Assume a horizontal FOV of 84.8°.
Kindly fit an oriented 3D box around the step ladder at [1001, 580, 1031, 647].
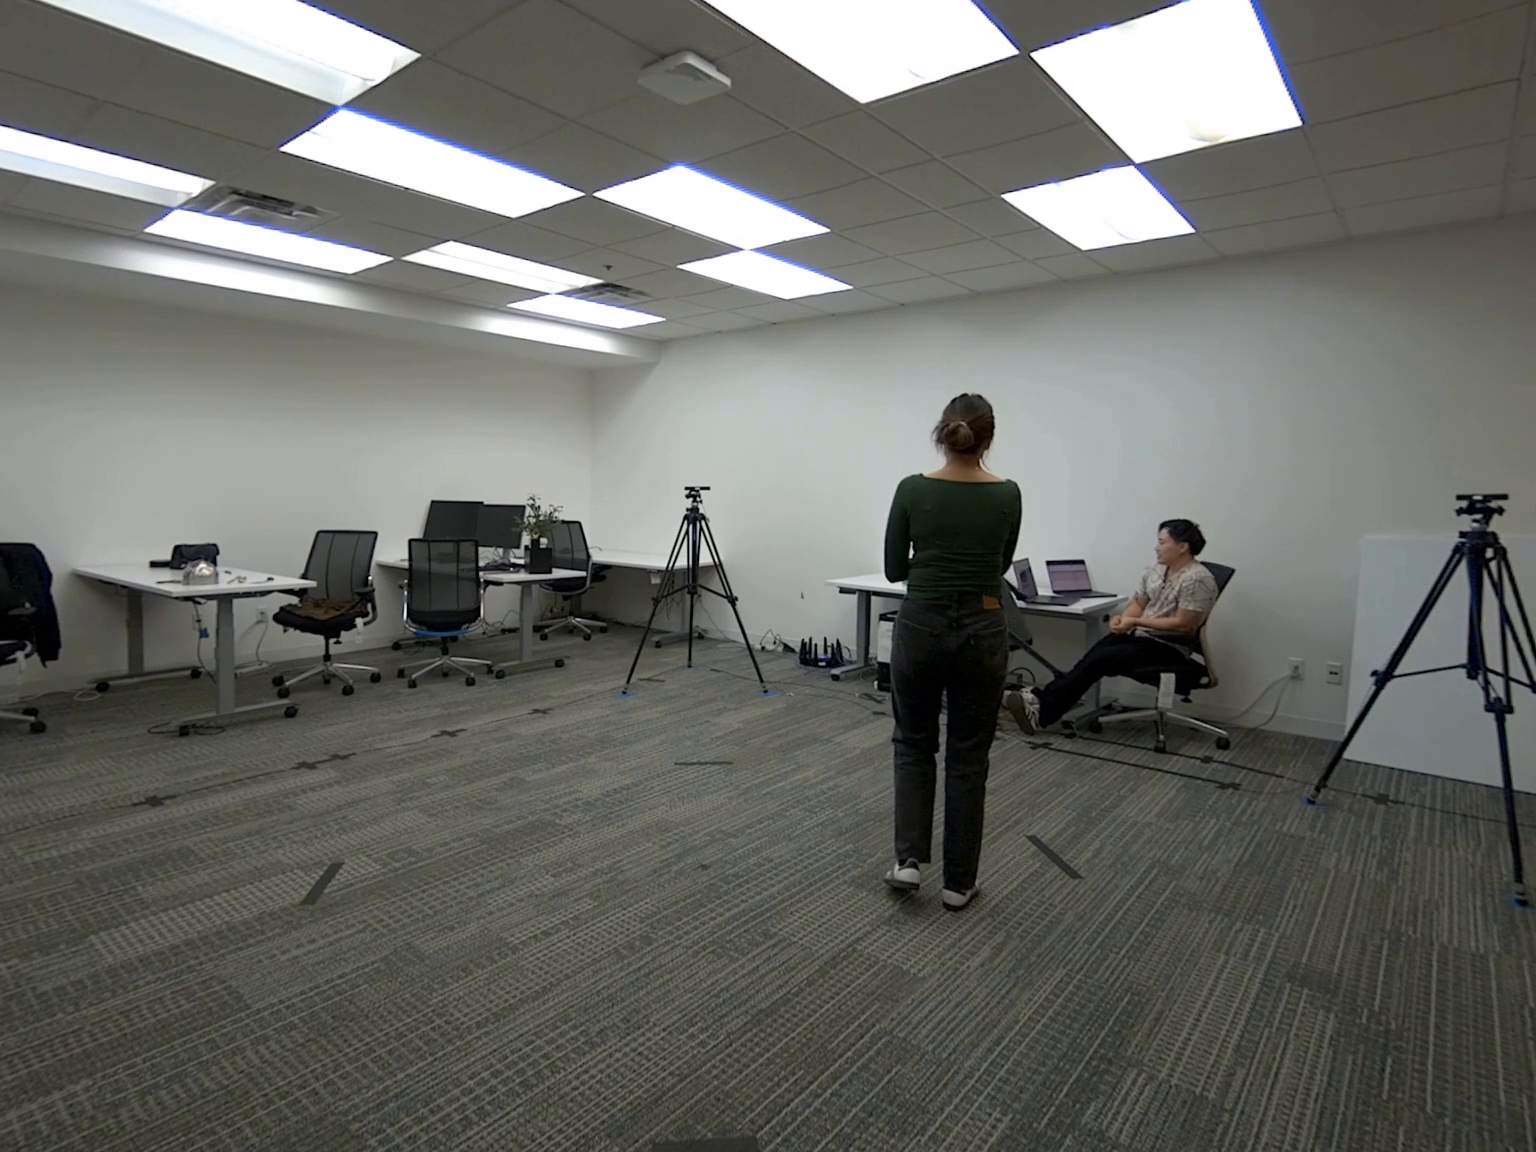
[{"bbox_3d":[0.840,0.102,3.249,0.351,0.446,0.582,-20,-44,8],"label":"step ladder"}]
